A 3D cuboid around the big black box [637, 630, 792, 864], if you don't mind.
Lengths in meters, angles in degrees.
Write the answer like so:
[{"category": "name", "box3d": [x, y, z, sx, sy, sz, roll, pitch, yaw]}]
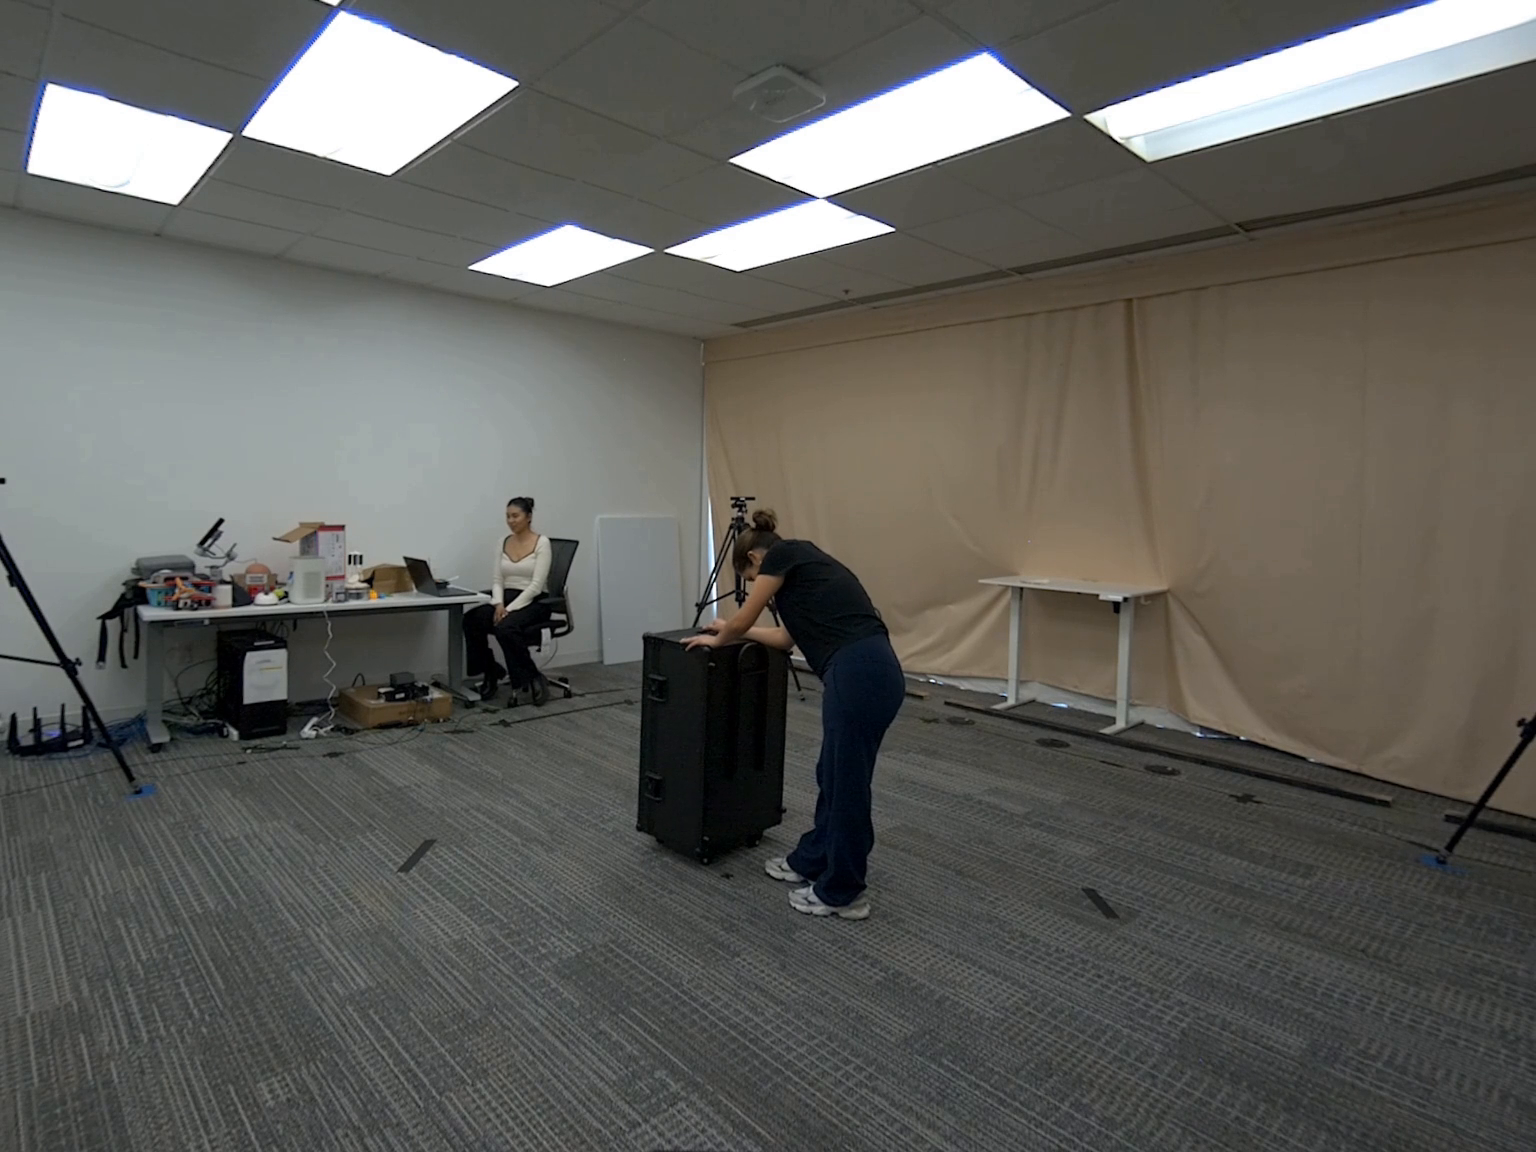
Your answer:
[{"category": "big black box", "box3d": [-0.229, 0.661, 3.352, 0.406, 0.858, 0.510, 6, 6, 41]}]
